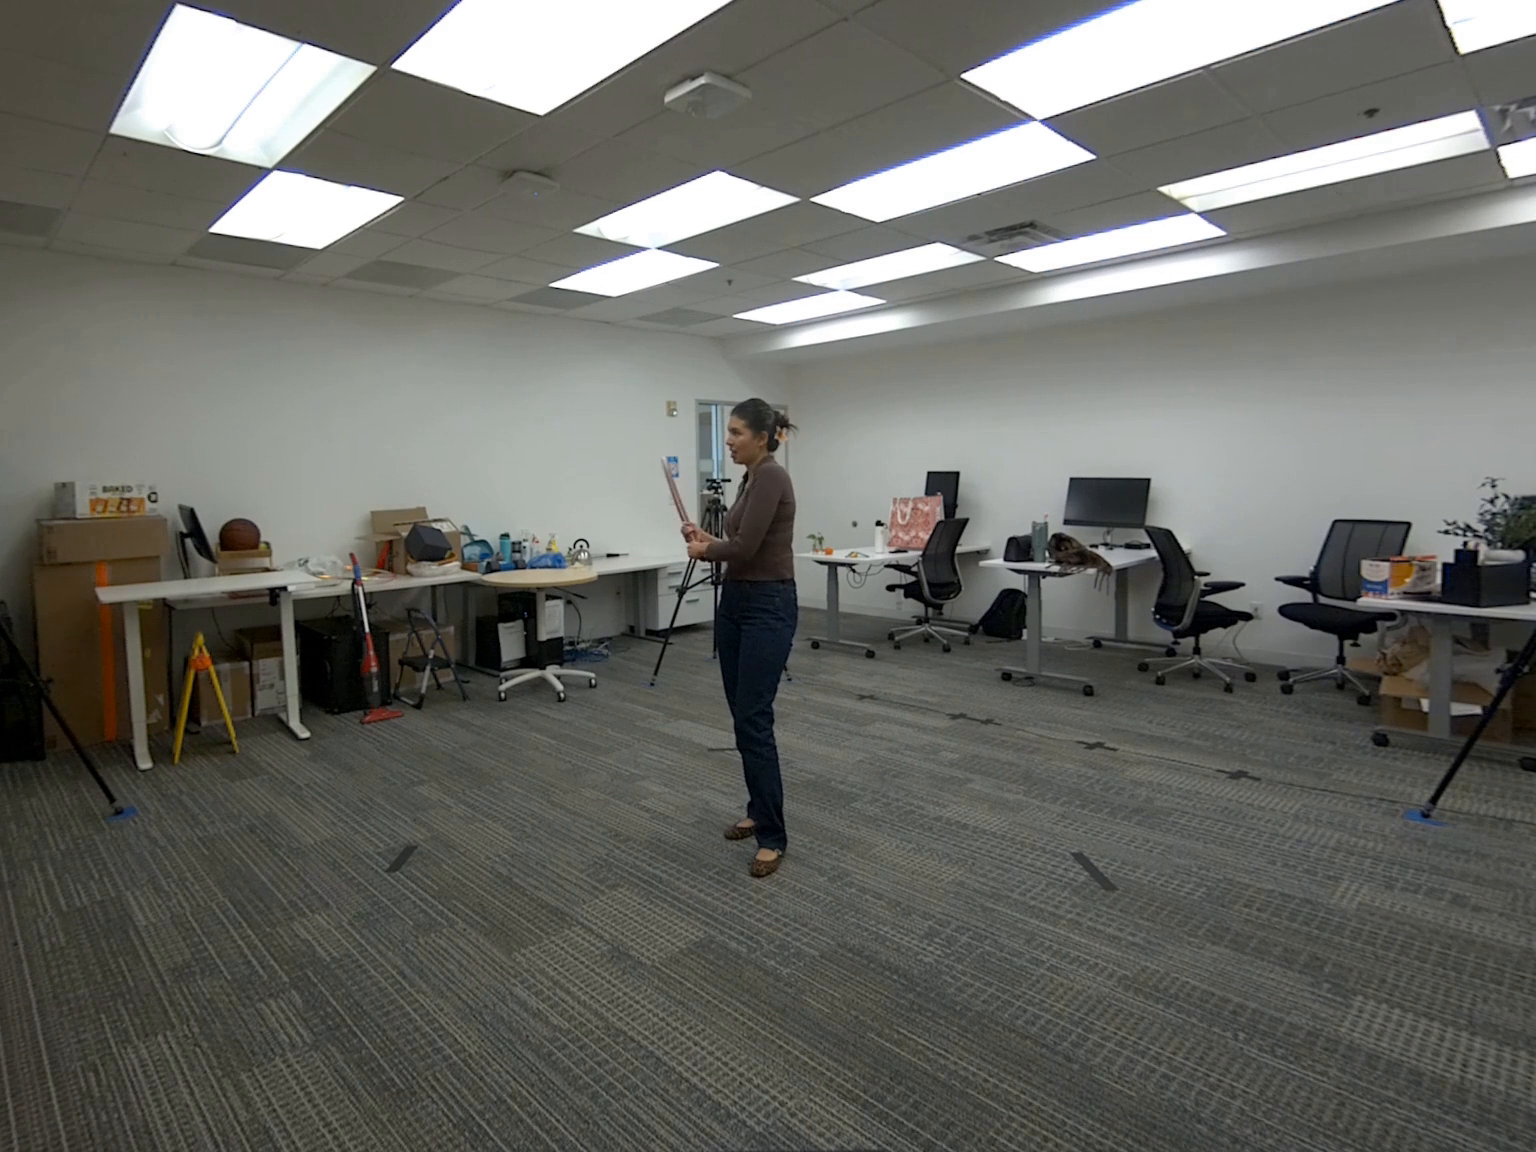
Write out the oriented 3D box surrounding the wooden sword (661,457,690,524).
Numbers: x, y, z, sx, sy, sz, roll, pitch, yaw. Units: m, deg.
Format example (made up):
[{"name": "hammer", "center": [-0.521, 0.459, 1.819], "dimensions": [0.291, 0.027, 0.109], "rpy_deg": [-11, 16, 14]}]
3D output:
[{"name": "wooden sword", "center": [-0.401, -0.310, 3.757], "dimensions": [0.051, 0.023, 1.058], "rpy_deg": [-39, 32, 12]}]
